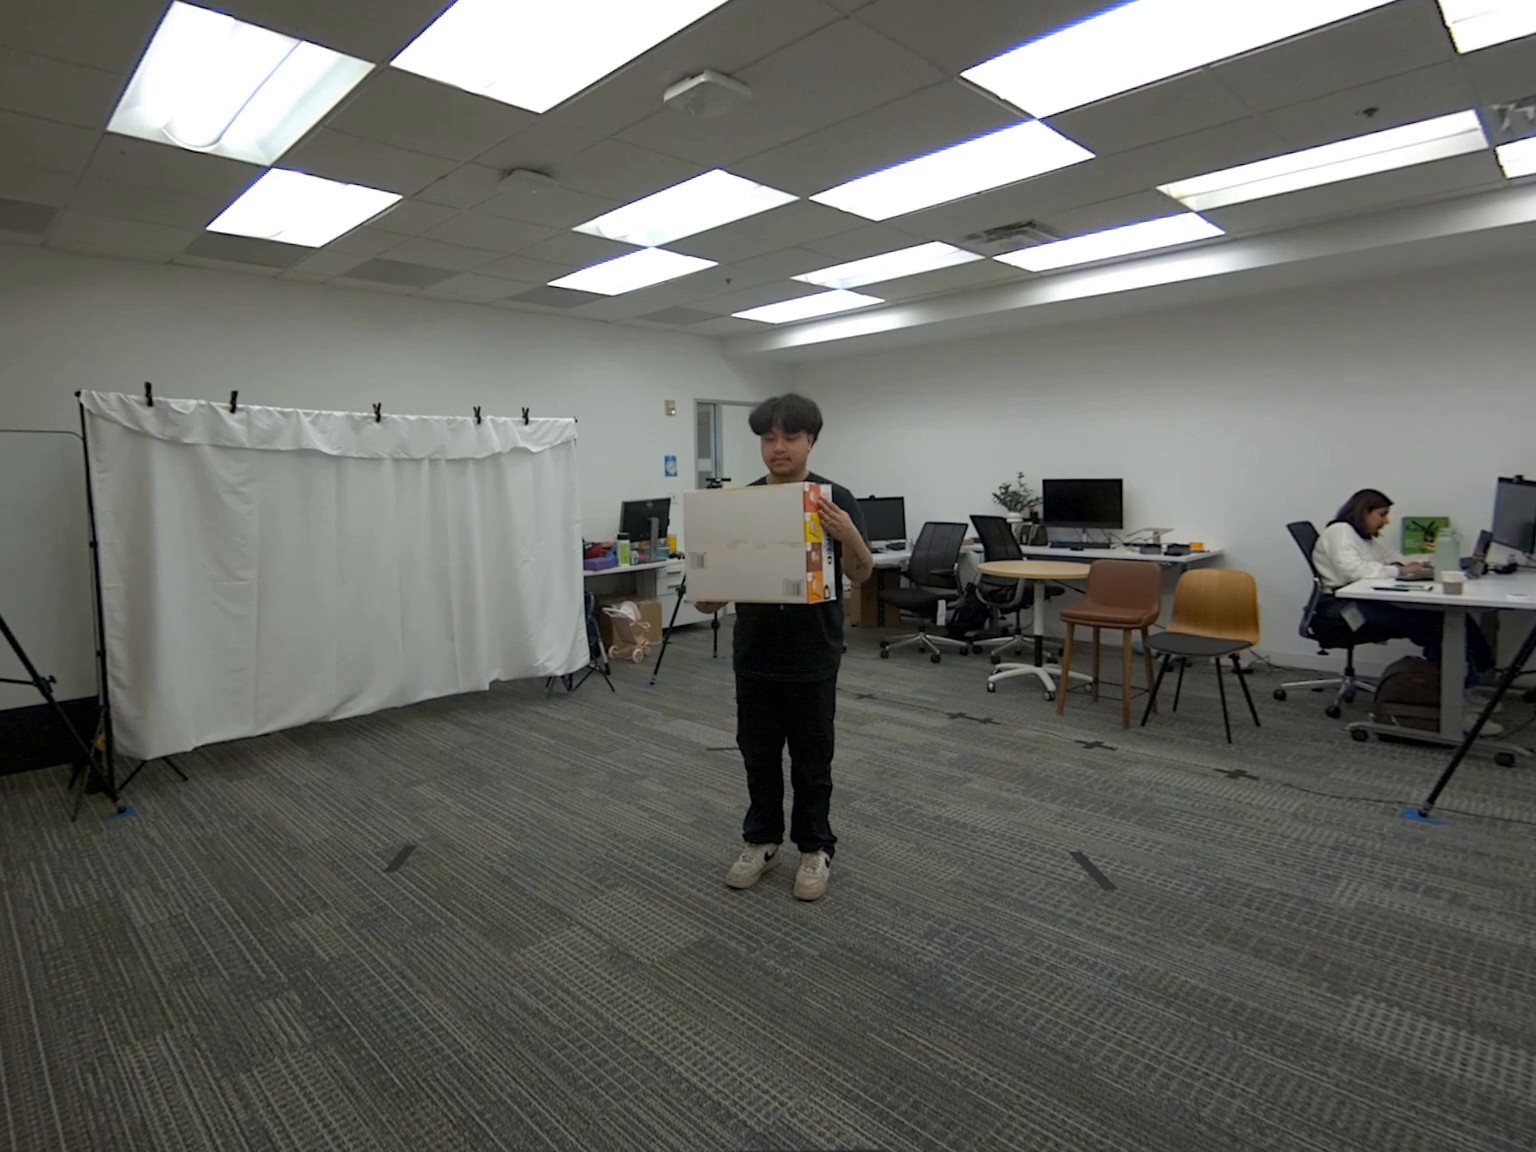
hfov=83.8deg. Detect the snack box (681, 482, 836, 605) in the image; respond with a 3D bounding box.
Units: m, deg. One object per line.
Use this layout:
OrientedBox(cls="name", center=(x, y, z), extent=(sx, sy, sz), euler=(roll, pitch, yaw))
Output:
OrientedBox(cls="snack box", center=(-0.037, -0.089, 2.554), extent=(0.415, 0.341, 0.200), euler=(-1, -1, 29))
